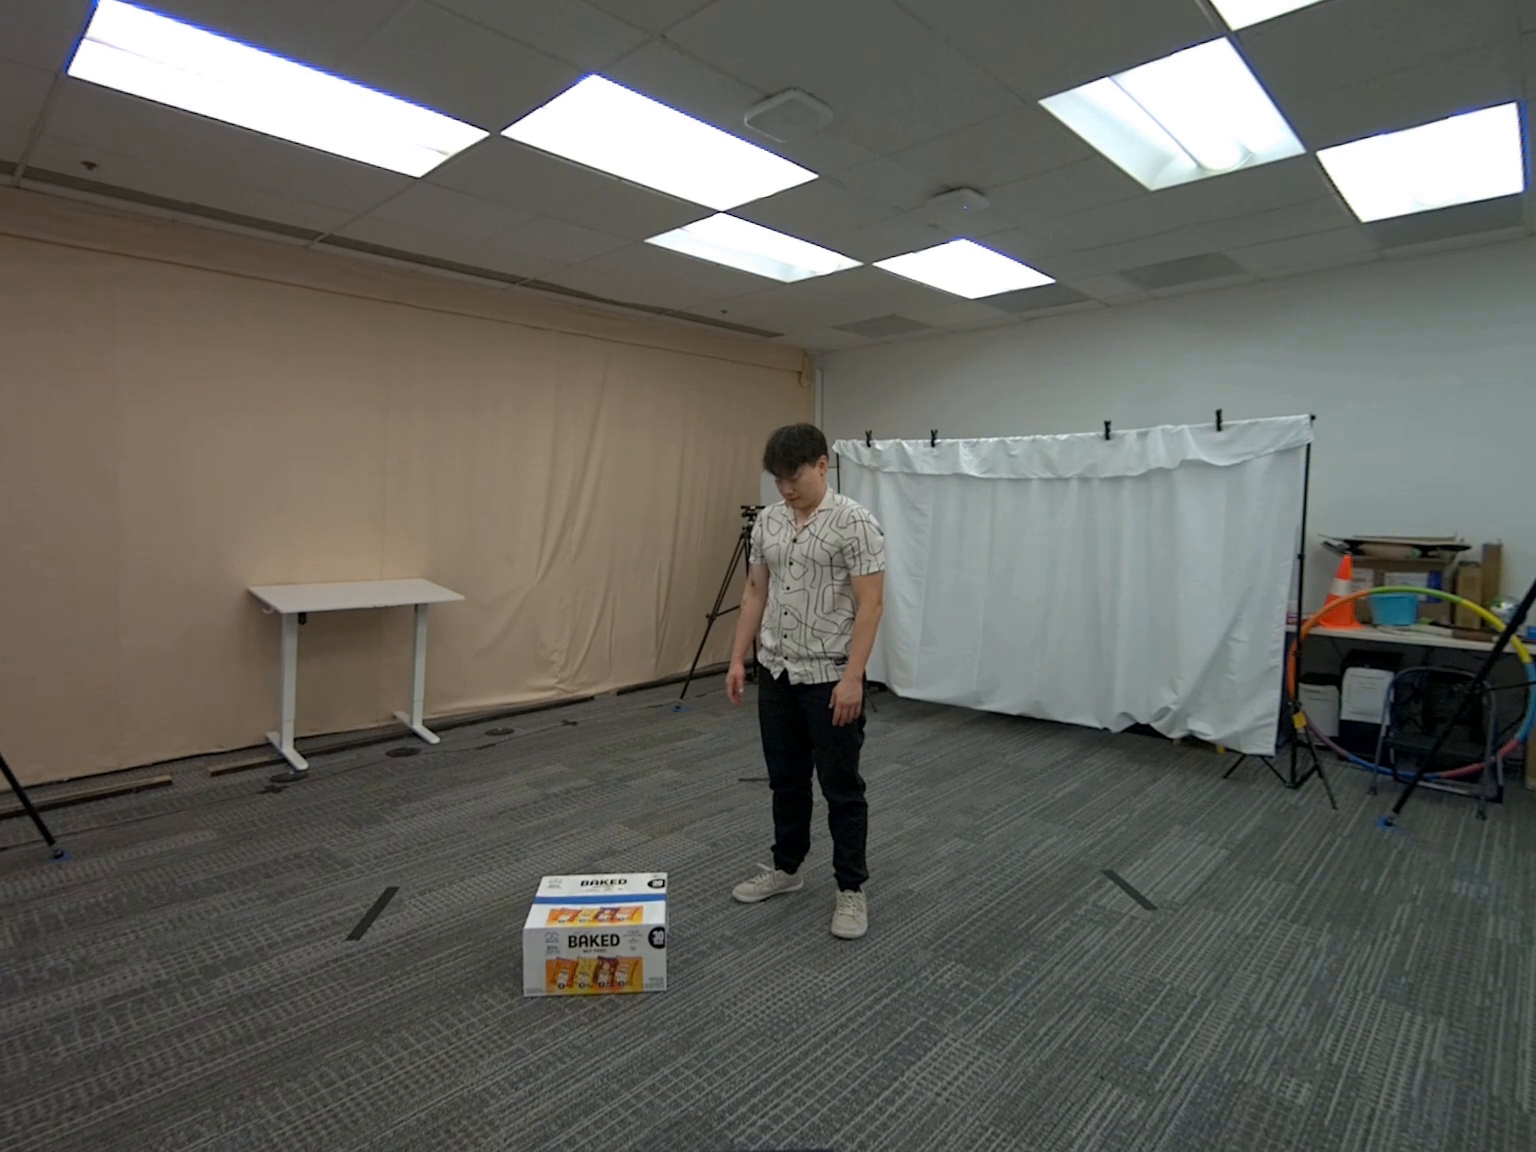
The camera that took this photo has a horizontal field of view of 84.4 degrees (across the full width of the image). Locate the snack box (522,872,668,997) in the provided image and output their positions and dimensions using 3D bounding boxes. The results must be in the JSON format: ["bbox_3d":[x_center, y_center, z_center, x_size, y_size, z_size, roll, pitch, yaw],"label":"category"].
[{"bbox_3d":[-0.510,1.082,2.555,0.403,0.205,0.342,-1,4,-4],"label":"snack box"}]
